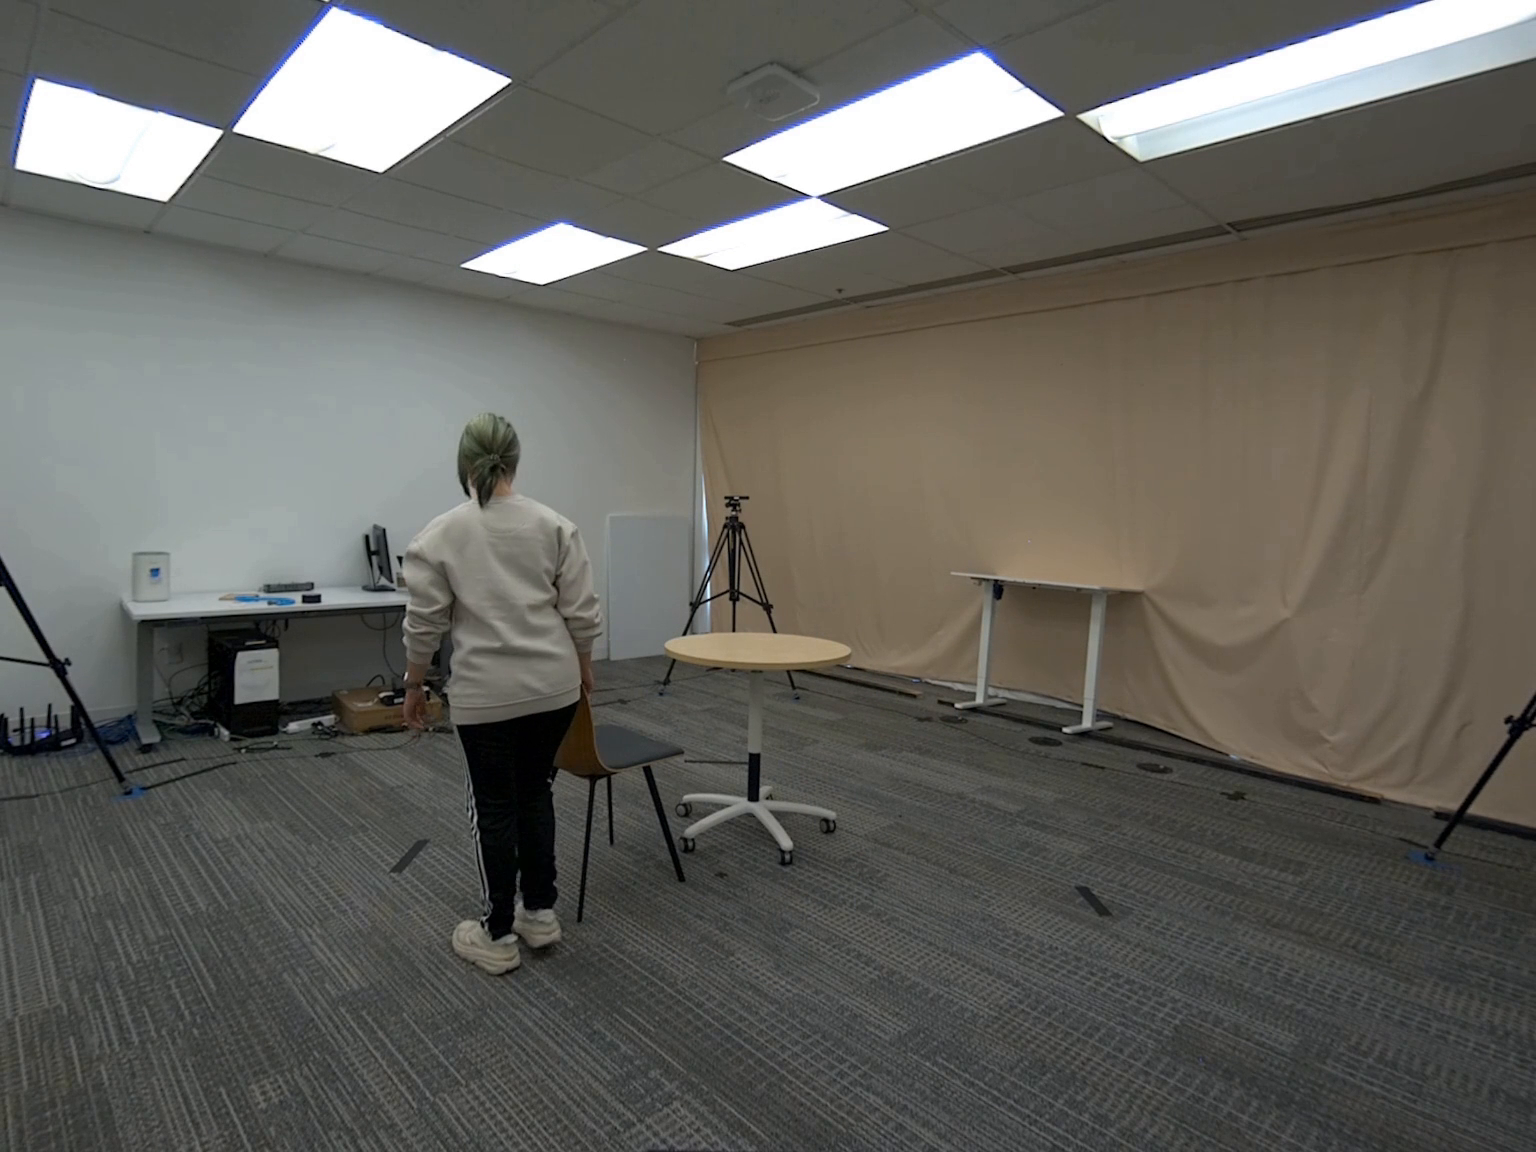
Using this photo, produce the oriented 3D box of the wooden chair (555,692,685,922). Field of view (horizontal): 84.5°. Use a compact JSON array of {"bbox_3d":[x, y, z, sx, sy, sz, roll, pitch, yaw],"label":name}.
[{"bbox_3d":[-0.603,0.671,3.022,0.512,0.873,0.490,-8,9,-44],"label":"wooden chair"}]
